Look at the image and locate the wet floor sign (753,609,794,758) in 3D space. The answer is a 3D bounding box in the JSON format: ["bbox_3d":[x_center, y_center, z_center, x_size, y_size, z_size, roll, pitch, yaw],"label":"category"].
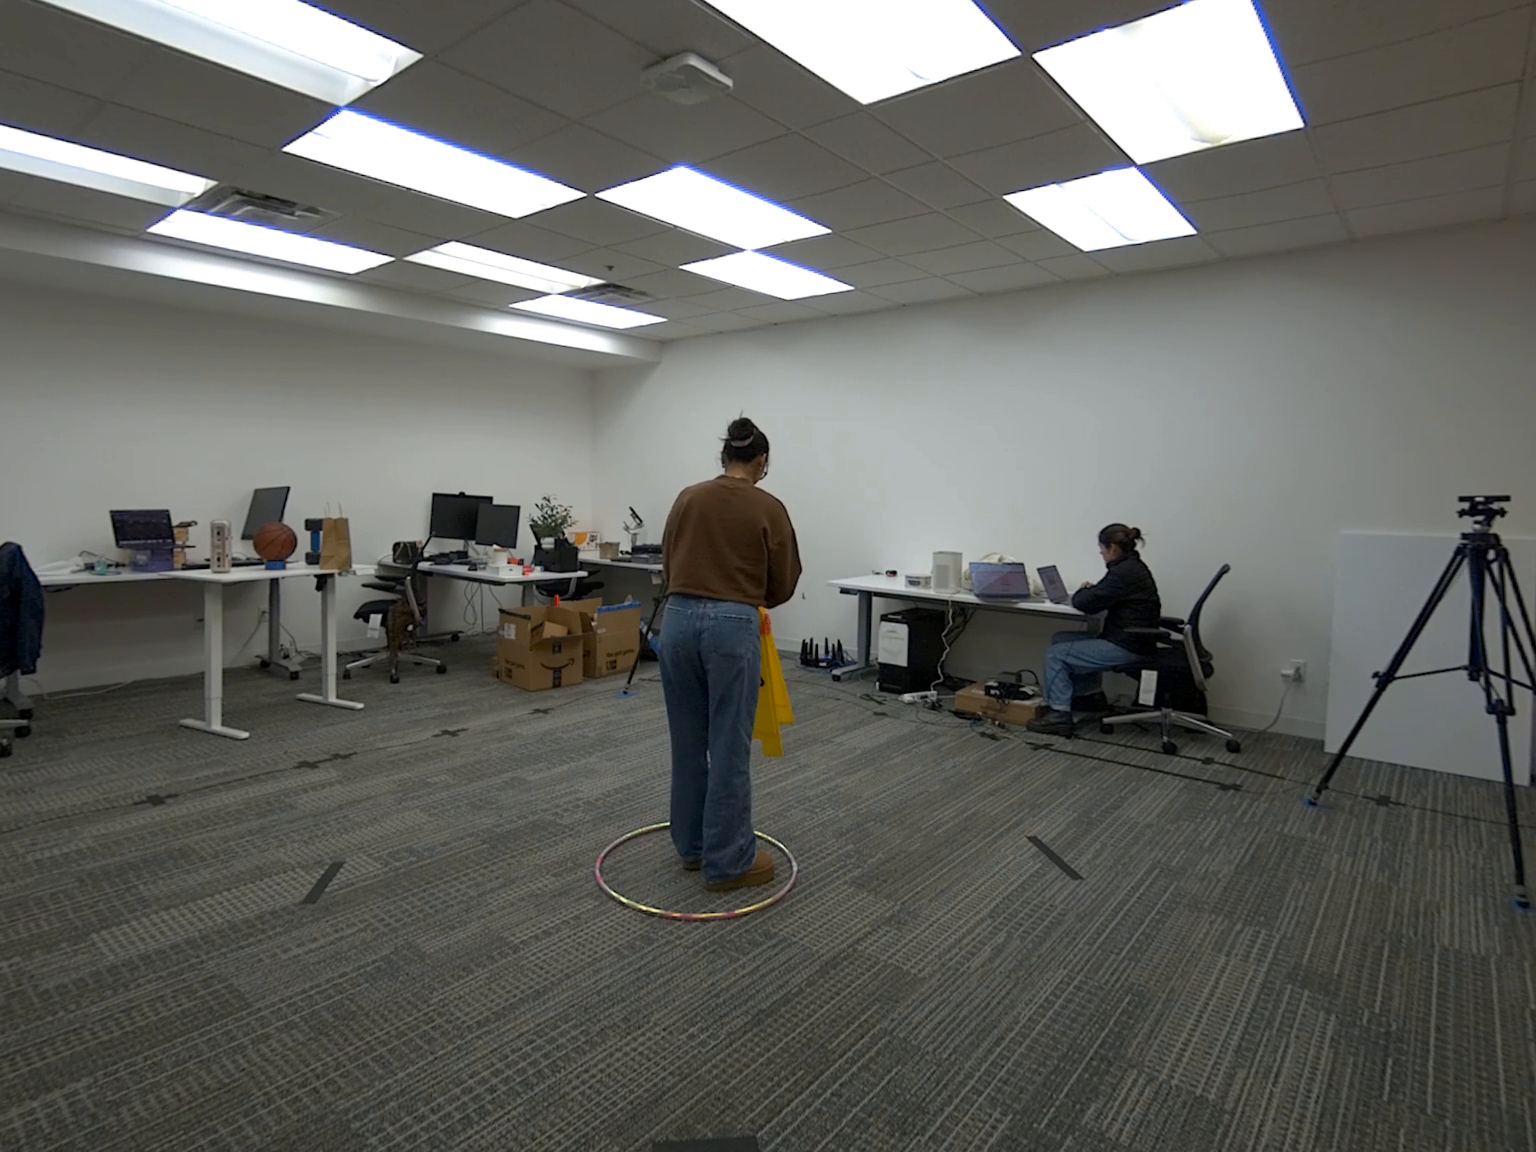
[{"bbox_3d":[-0.107,0.365,3.416,0.287,0.636,0.290,-2,15,14],"label":"wet floor sign"}]
